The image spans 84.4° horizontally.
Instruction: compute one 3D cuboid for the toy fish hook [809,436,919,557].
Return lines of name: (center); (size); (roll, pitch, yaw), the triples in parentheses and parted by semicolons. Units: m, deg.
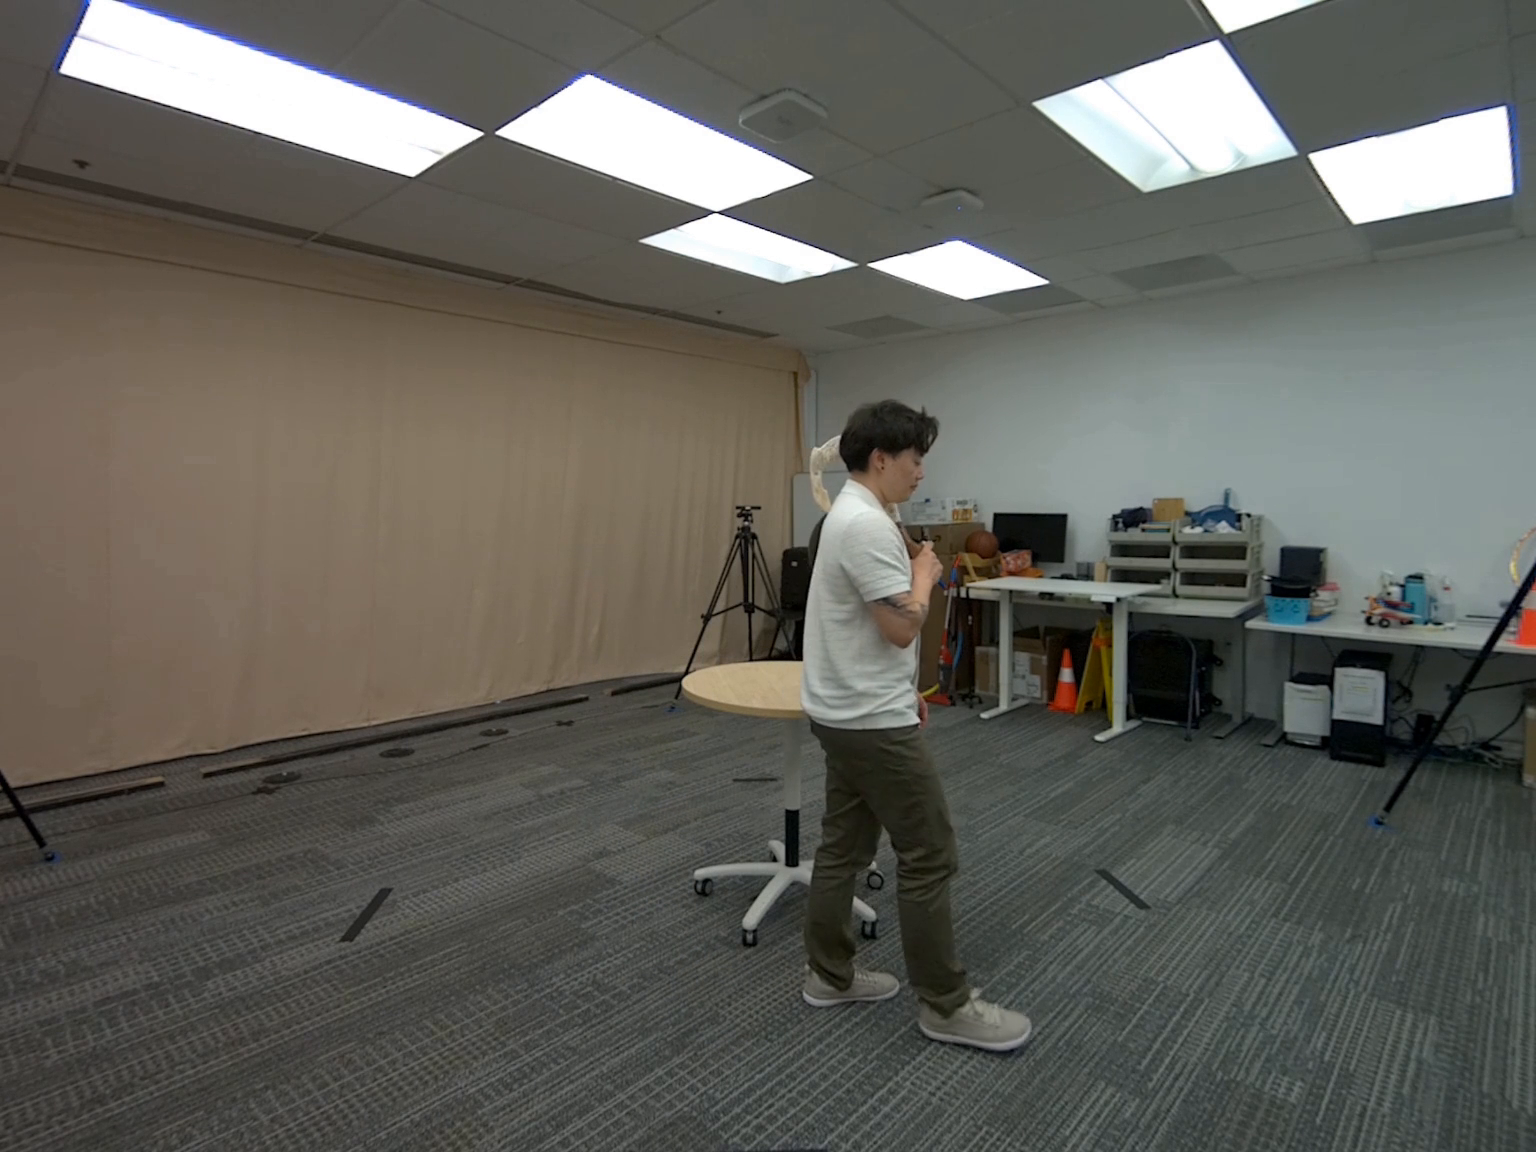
toy fish hook: (0.312, -0.169, 2.358); (0.225, 0.513, 0.047); (-30, -11, 1)
